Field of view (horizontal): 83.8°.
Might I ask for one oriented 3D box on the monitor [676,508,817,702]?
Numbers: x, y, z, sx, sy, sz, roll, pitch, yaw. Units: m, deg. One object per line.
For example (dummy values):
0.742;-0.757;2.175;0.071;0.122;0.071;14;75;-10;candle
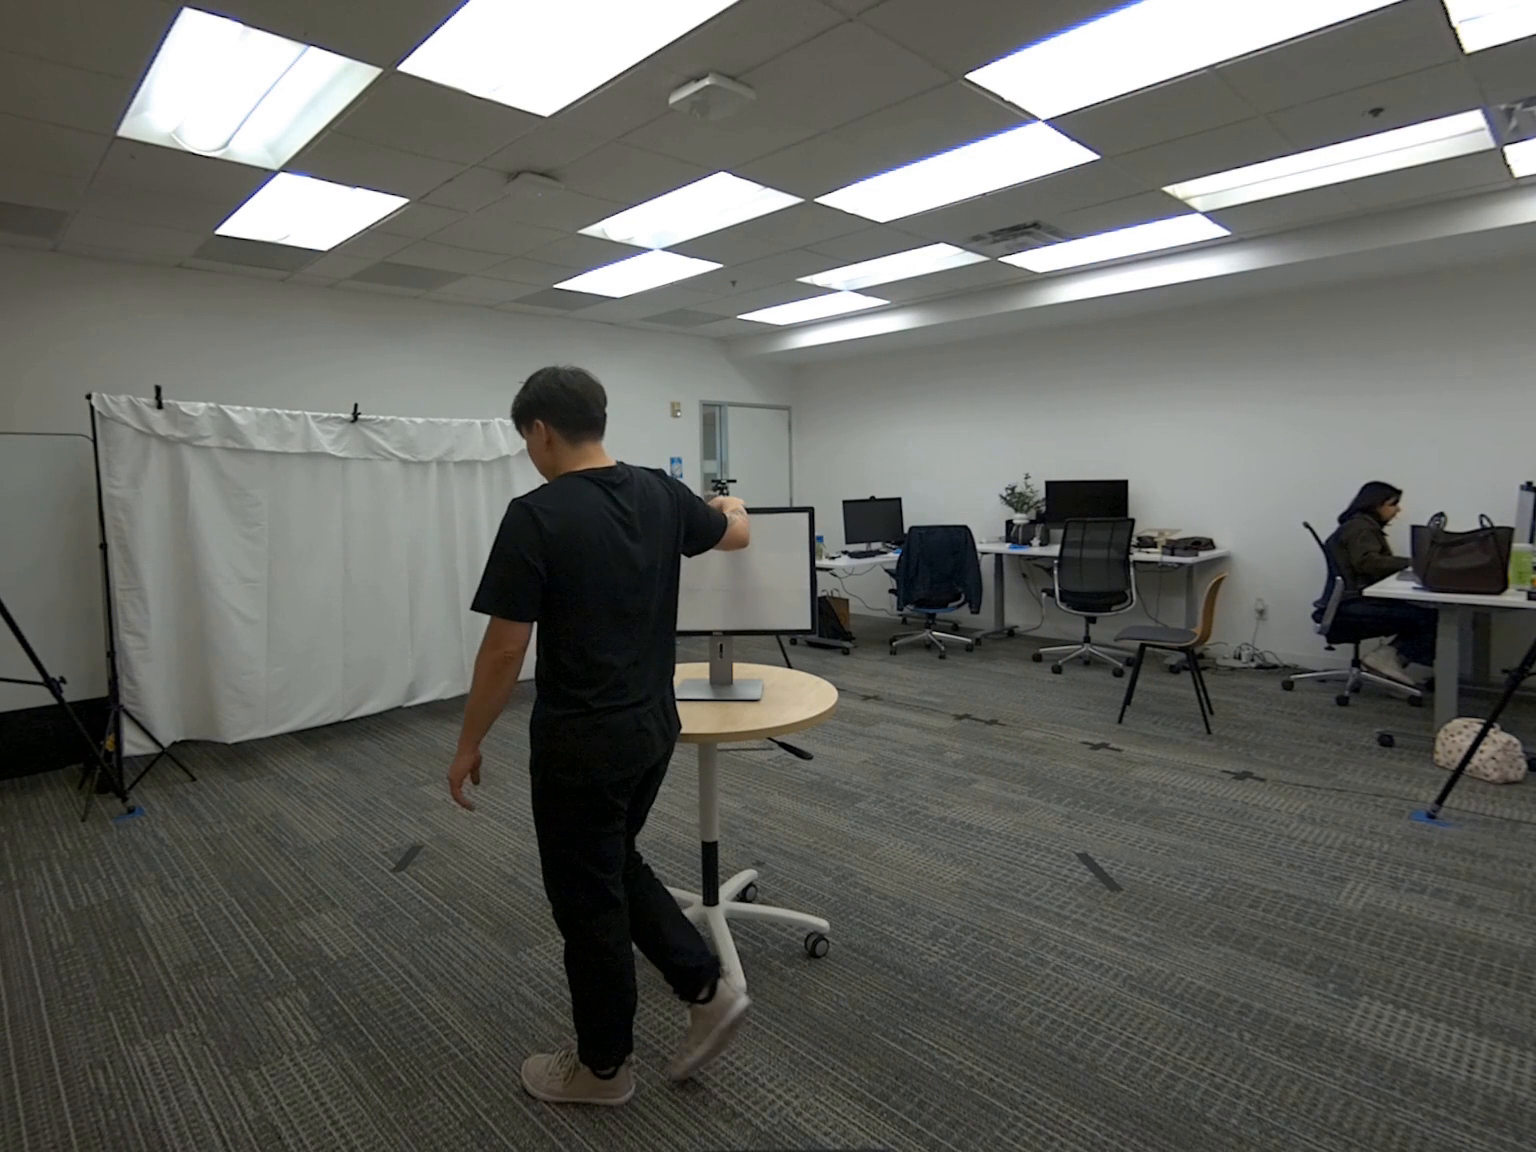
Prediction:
-0.141;0.079;2.491;0.541;0.519;0.187;-1;6;3;monitor
